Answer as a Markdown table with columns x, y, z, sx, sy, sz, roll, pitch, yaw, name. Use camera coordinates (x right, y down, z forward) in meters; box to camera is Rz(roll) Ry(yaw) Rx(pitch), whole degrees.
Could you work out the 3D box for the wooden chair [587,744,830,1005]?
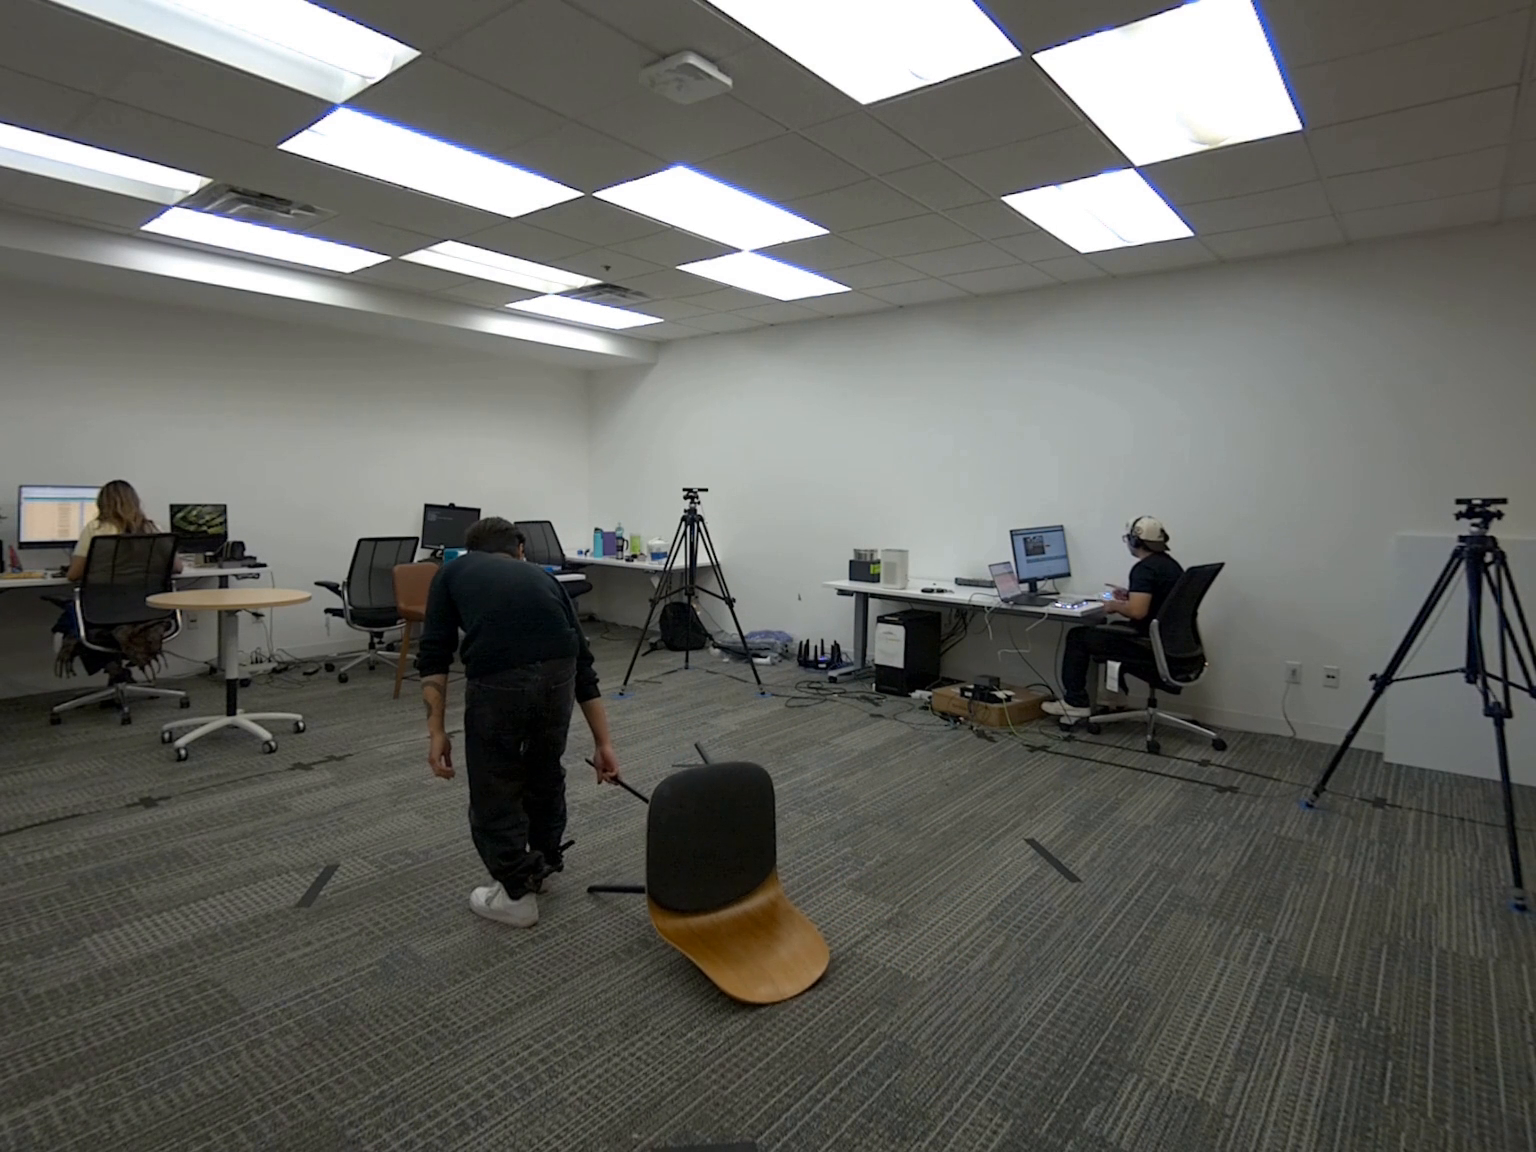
| x | y | z | sx | sy | sz | roll | pitch | yaw | name |
| --- | --- | --- | --- | --- | --- | --- | --- | --- | --- |
| -0.202 | 0.855 | 2.674 | 0.465 | 0.521 | 0.906 | -2 | 6 | -33 | wooden chair |
